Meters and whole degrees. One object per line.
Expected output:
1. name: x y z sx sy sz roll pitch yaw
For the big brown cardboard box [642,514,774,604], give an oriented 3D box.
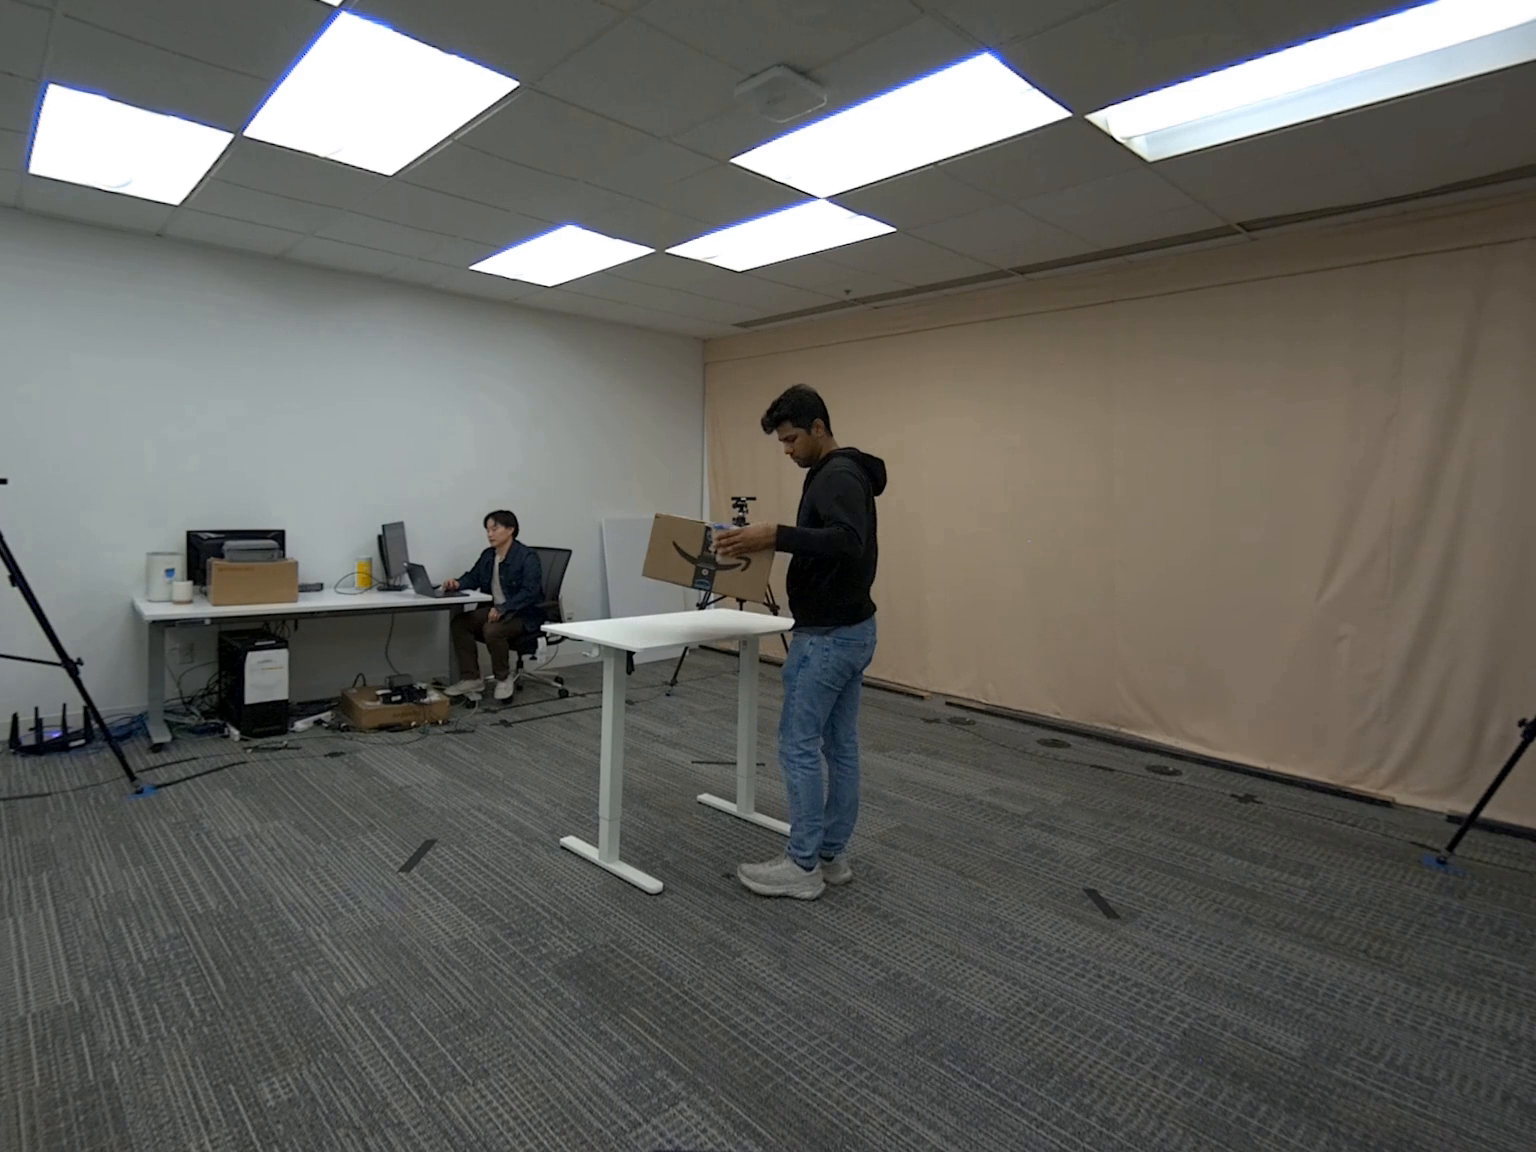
1. big brown cardboard box: -0.184 -0.072 3.045 0.418 0.232 0.589 11 4 1
